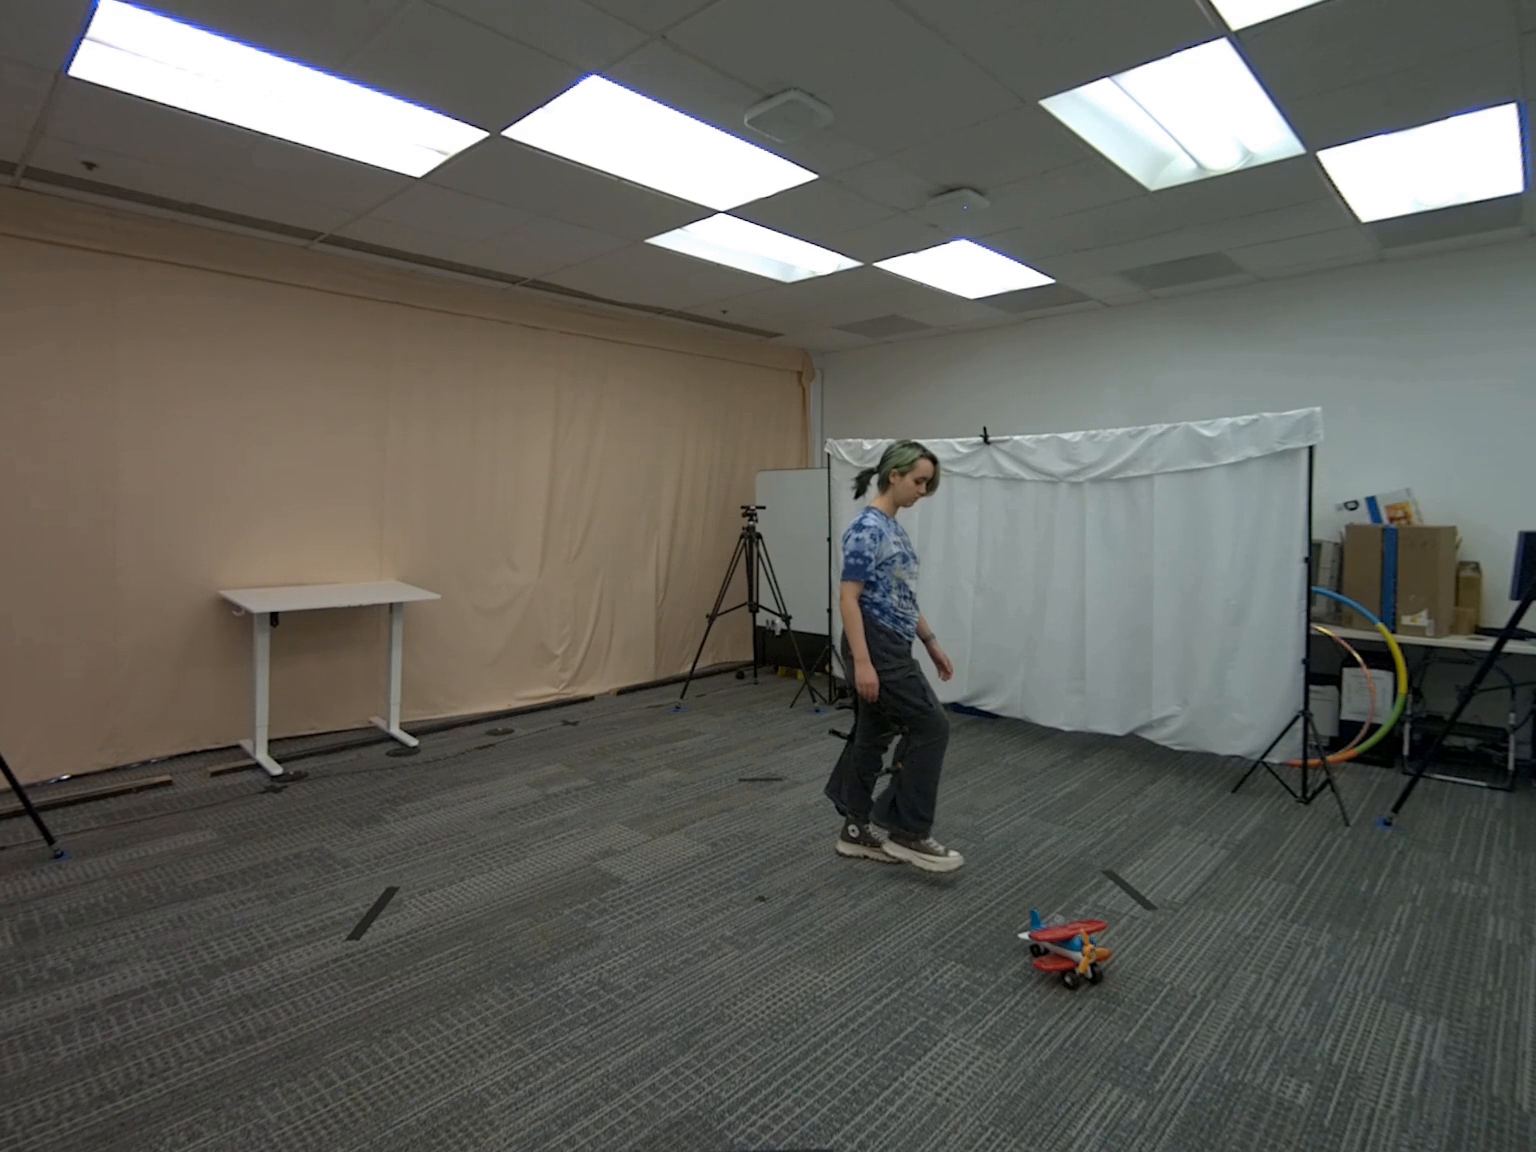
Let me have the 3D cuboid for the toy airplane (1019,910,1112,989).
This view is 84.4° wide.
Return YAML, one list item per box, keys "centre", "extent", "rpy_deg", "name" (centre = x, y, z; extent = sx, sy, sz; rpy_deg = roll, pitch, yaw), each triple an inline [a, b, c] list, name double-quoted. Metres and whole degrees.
- centre: [0.875, 1.111, 2.507]
  extent: [0.268, 0.156, 0.243]
  rpy_deg: [5, 7, 41]
  name: "toy airplane"
